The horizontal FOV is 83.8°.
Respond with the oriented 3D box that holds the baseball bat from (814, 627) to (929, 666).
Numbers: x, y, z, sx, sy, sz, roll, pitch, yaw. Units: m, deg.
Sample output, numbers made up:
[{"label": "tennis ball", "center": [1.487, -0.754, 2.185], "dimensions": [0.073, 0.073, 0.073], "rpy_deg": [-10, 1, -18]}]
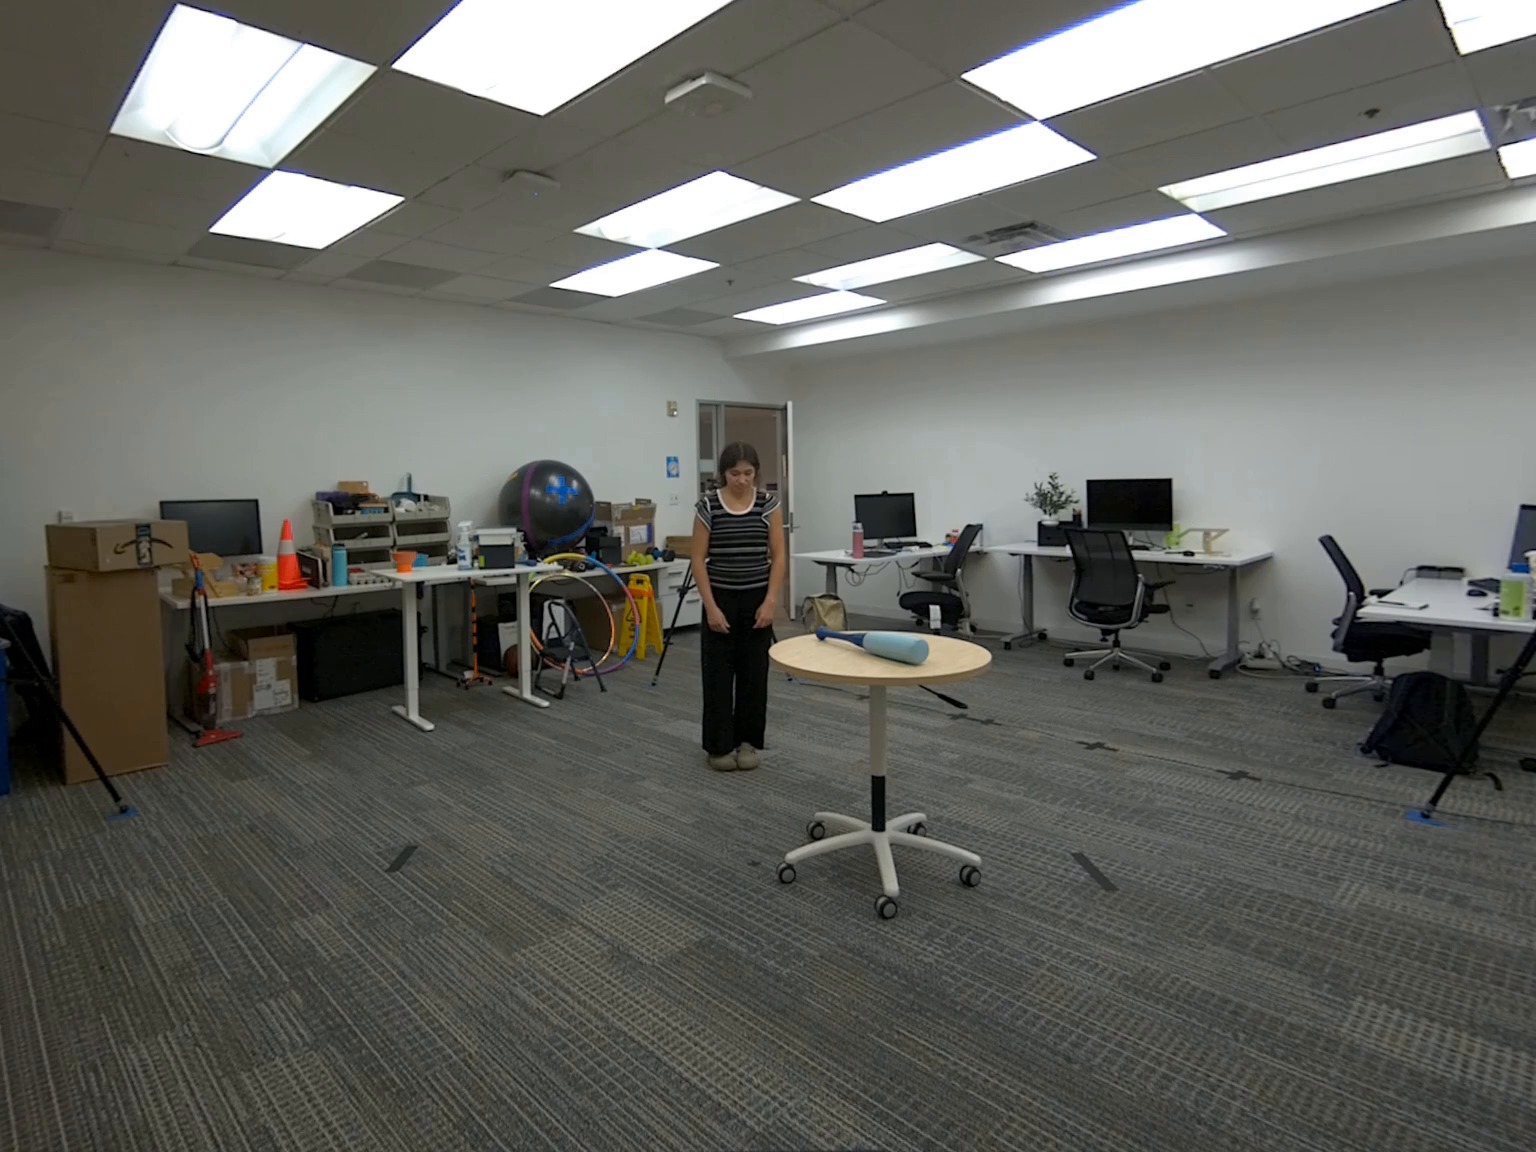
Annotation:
[{"label": "baseball bat", "center": [0.350, 0.233, 2.993], "dimensions": [0.087, 0.089, 0.558], "rpy_deg": [-4, 5, -32]}]
